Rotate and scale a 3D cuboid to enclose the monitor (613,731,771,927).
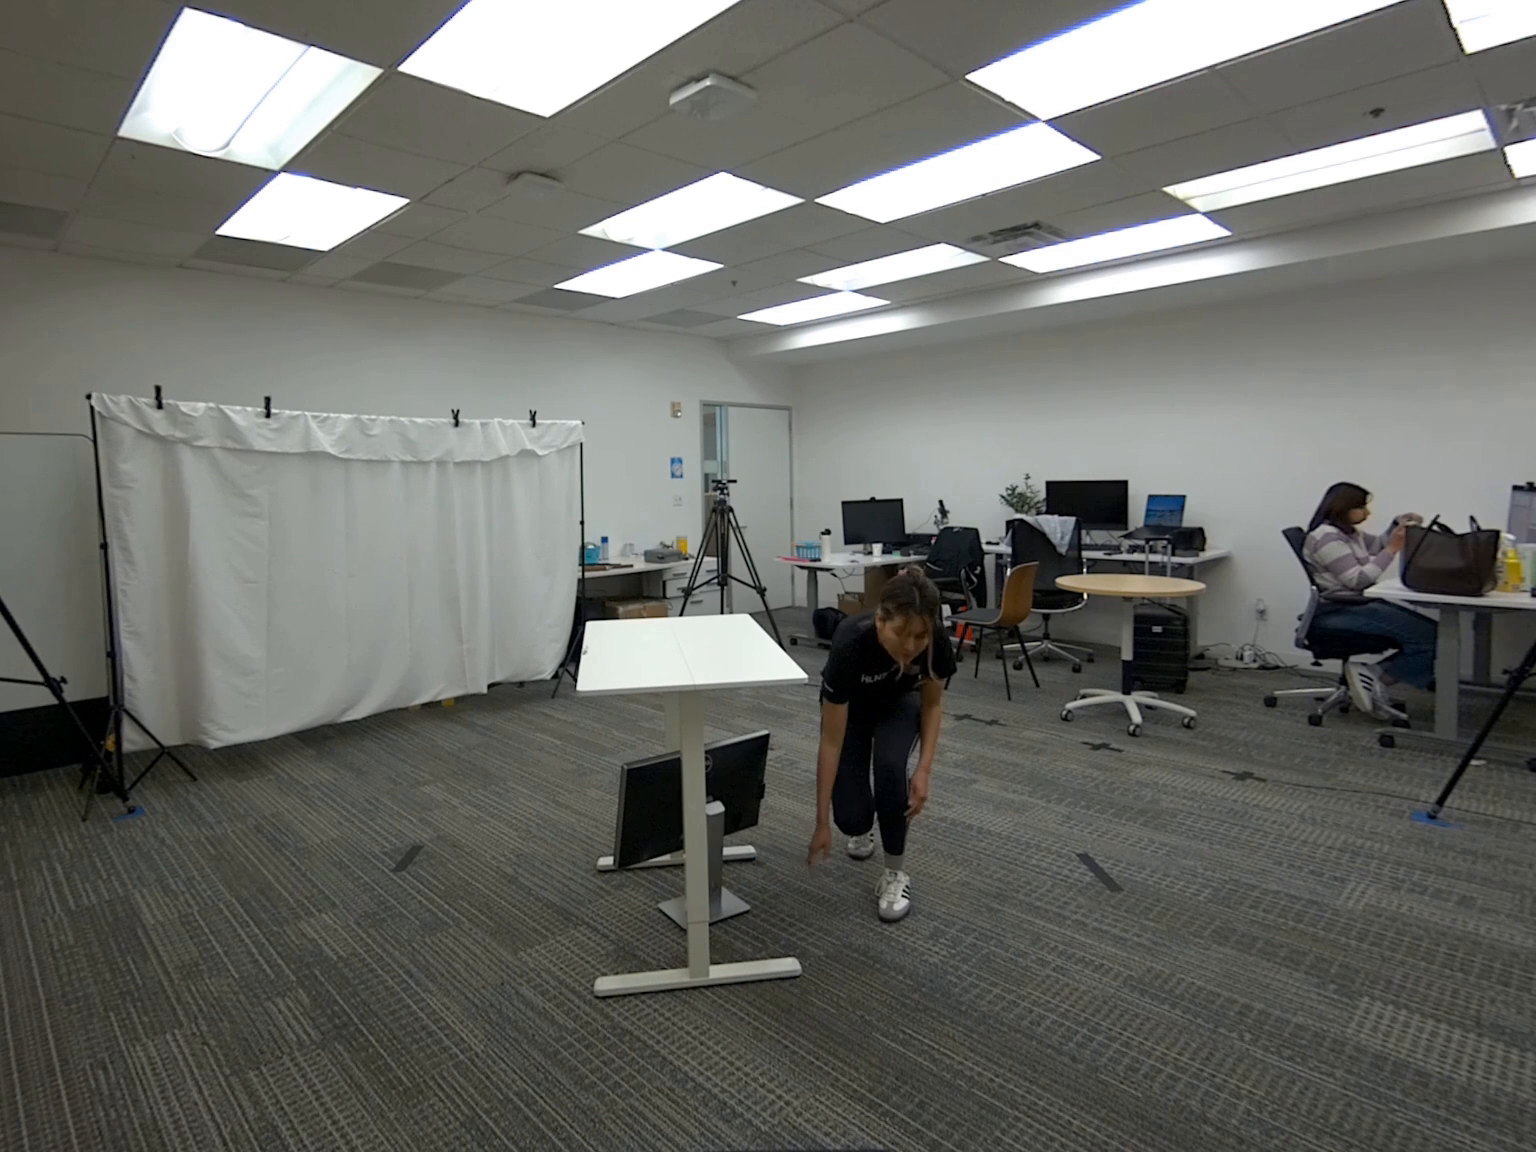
[{"bbox_3d":[-0.212,0.825,2.765,0.525,0.521,0.192,-4,4,-37],"label":"monitor"}]
